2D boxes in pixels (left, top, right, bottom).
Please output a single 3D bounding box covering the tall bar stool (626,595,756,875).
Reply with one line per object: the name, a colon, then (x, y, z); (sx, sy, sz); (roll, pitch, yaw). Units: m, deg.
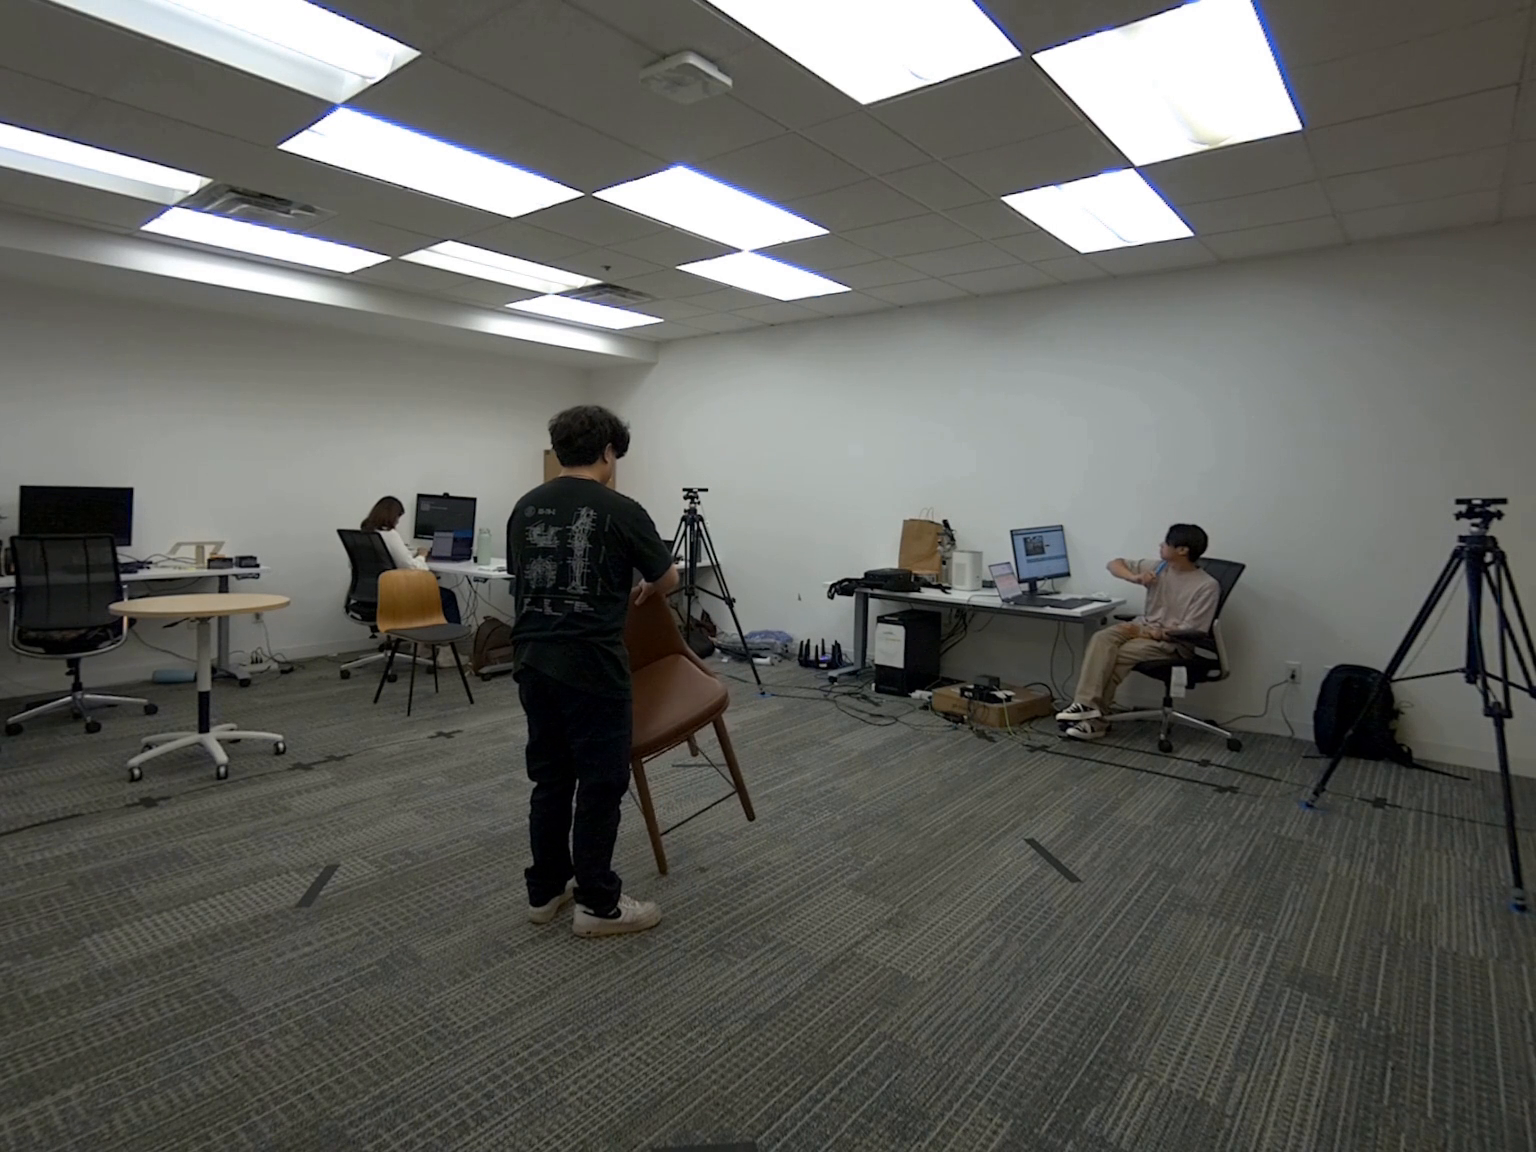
tall bar stool: (-0.403, 0.544, 3.093); (0.451, 0.864, 0.487); (-24, 32, -22)
